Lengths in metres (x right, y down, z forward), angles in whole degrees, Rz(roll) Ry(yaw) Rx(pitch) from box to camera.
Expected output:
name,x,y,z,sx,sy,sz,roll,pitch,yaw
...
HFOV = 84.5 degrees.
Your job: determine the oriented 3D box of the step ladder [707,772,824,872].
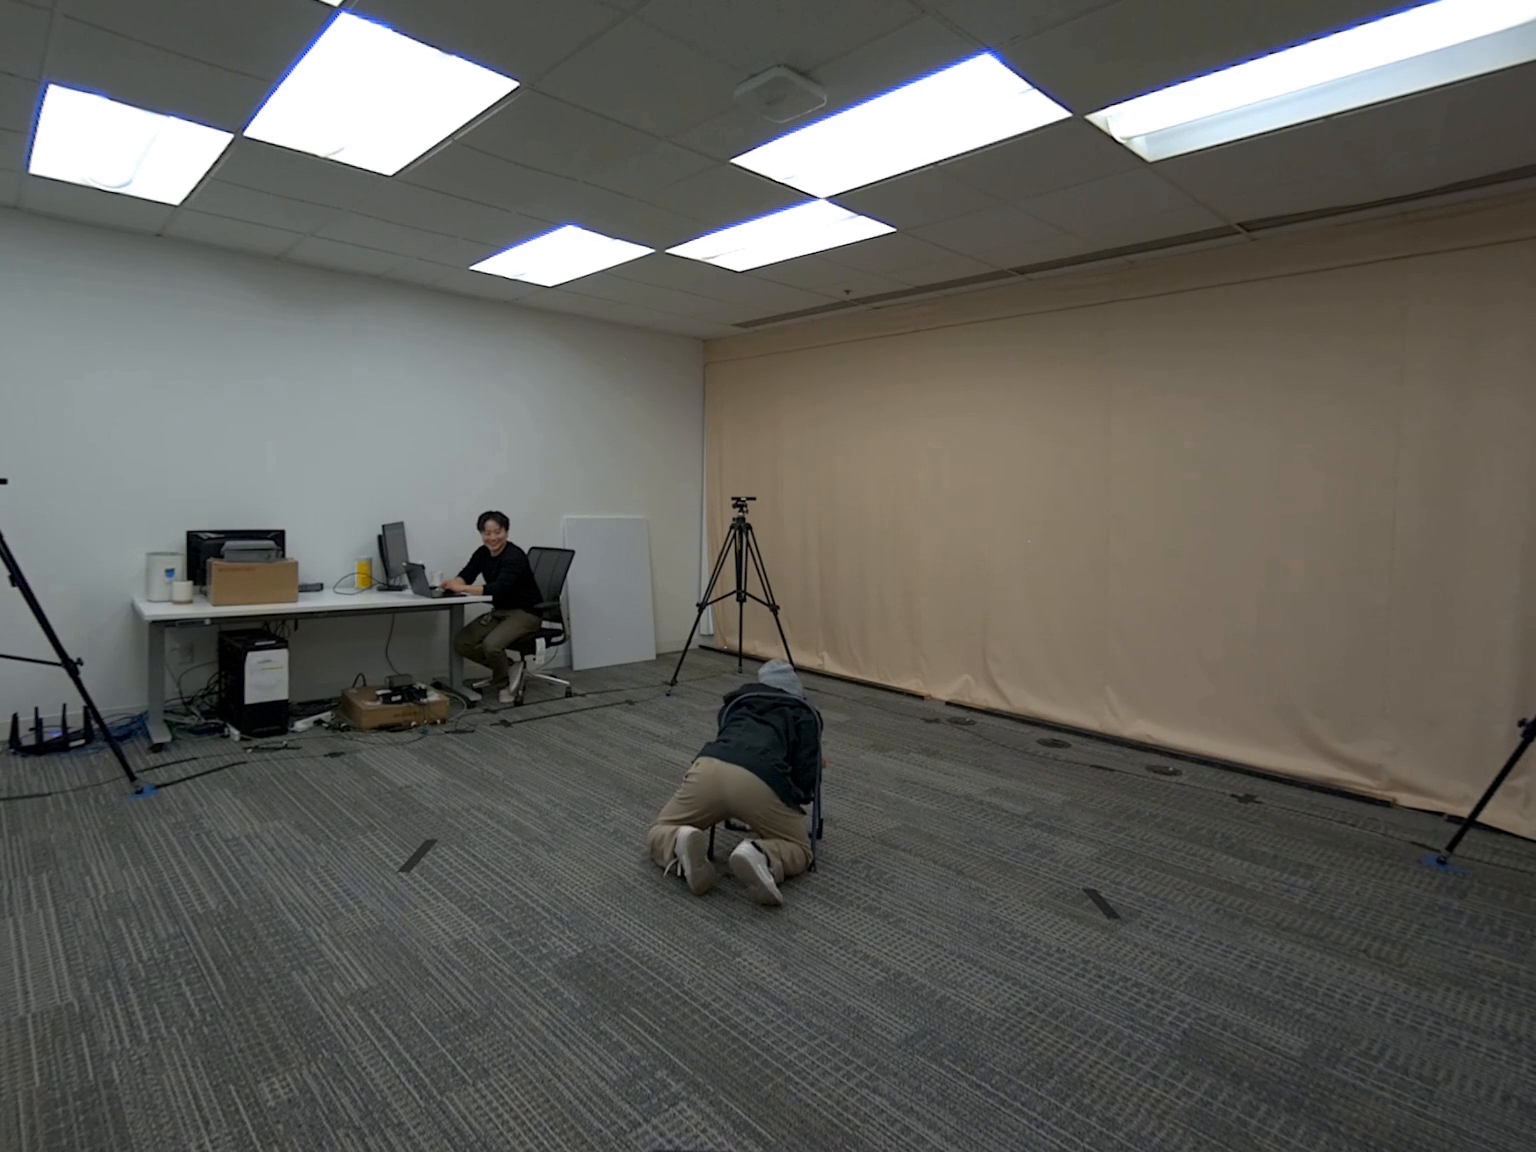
name,x,y,z,sx,sy,sz,roll,pitch,yaw
step ladder,-0.002,0.787,3.356,0.435,0.605,0.346,2,3,11
